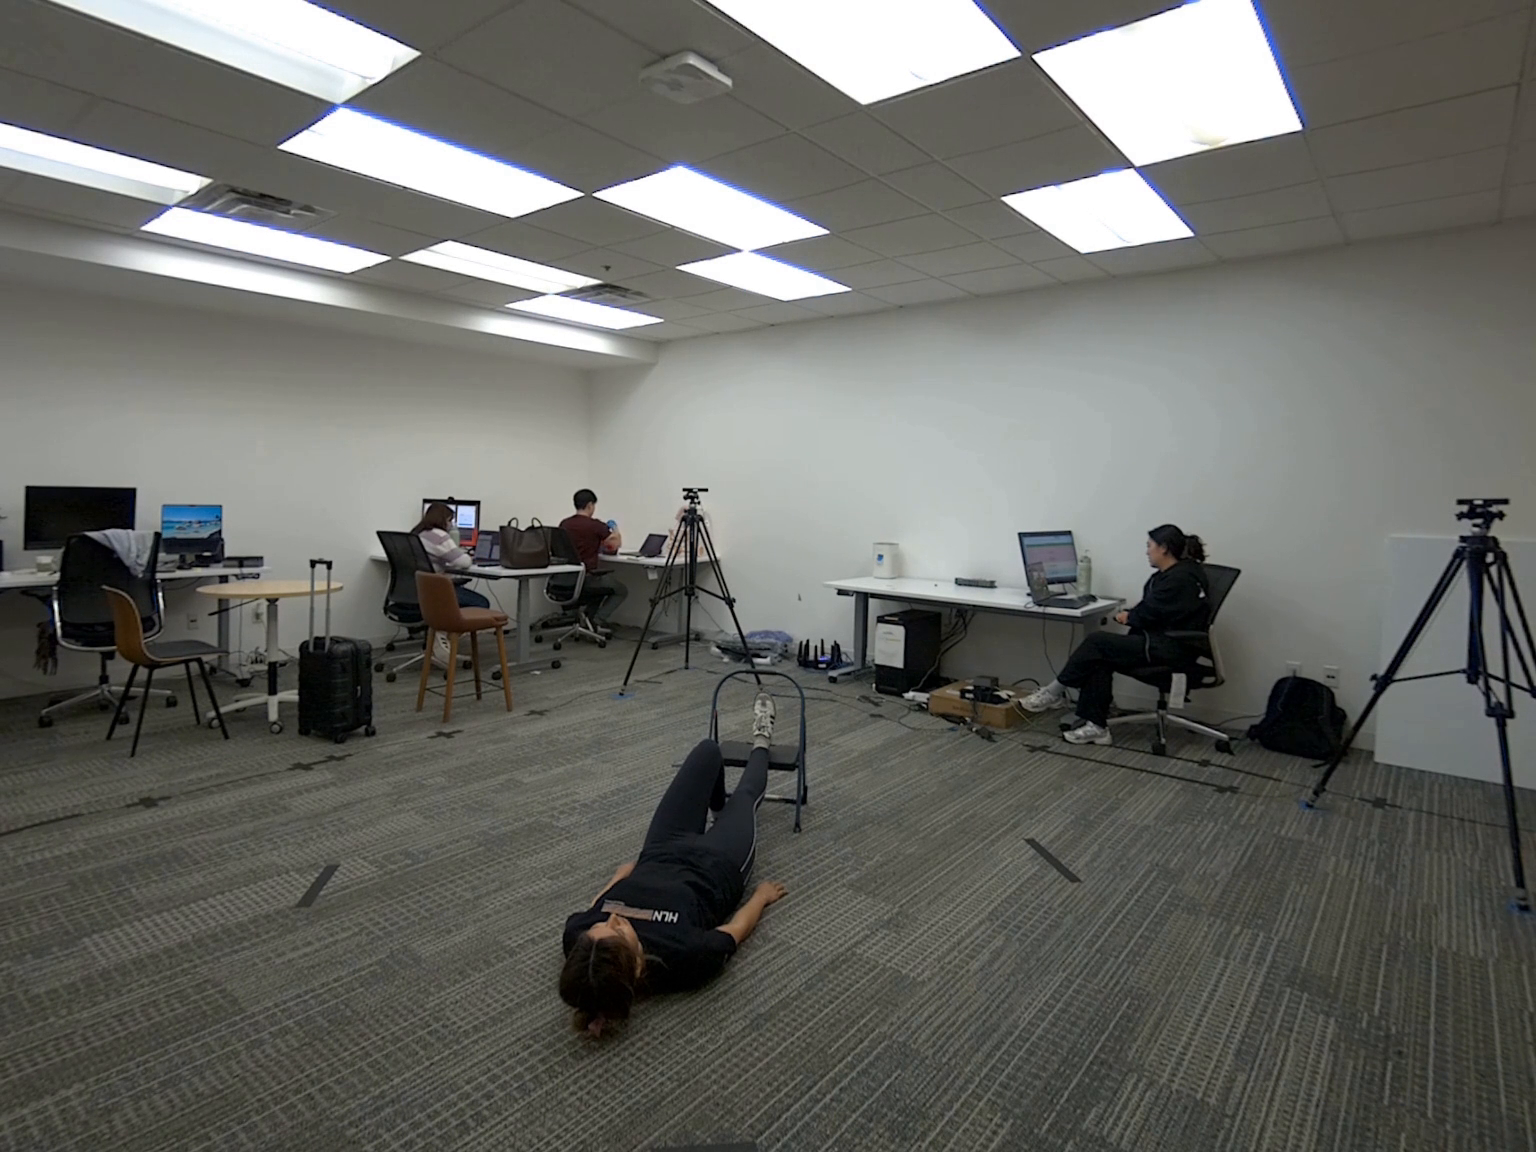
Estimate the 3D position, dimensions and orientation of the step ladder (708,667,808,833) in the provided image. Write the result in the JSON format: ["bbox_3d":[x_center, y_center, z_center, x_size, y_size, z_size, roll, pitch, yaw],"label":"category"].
[{"bbox_3d":[-0.050,0.718,3.664,0.436,0.604,0.346,2,3,10],"label":"step ladder"}]
